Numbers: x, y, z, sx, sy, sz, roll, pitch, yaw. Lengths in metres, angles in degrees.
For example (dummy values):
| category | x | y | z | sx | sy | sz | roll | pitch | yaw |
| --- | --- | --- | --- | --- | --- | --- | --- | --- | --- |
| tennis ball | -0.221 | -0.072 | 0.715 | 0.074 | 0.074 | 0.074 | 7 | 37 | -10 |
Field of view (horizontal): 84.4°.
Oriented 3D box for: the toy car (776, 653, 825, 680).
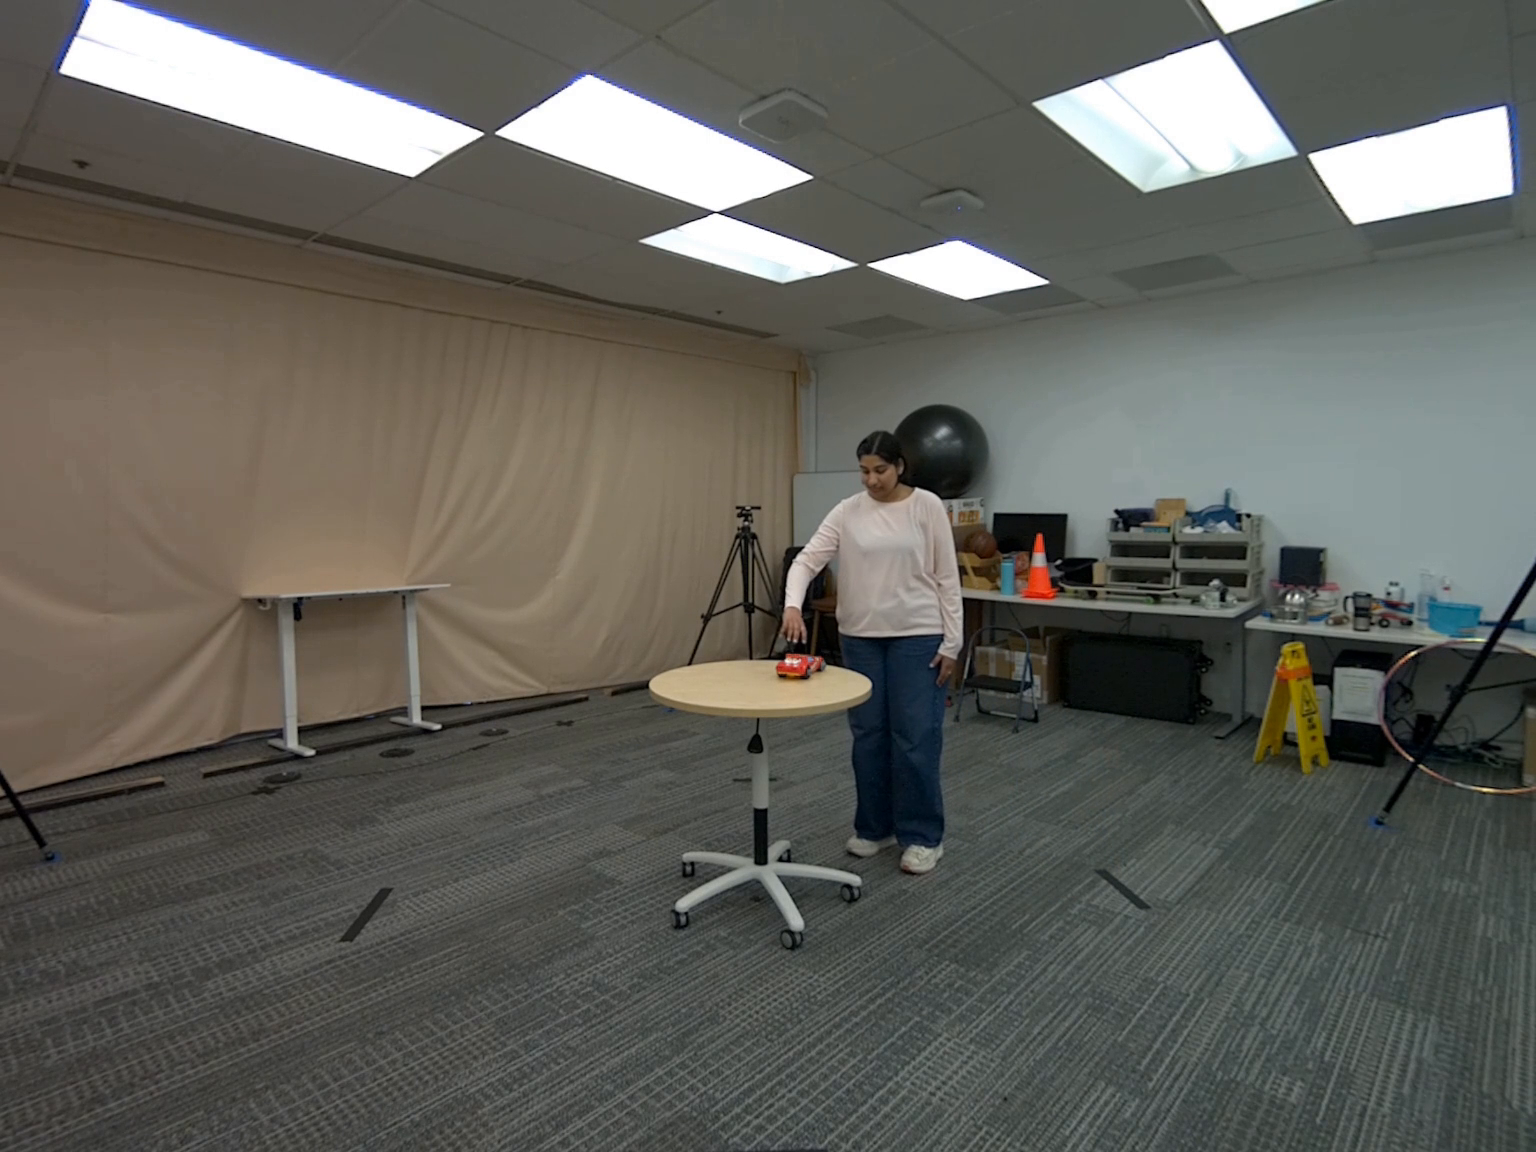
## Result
| category | x | y | z | sx | sy | sz | roll | pitch | yaw |
| --- | --- | --- | --- | --- | --- | --- | --- | --- | --- |
| toy car | 0.111 | 0.326 | 3.011 | 0.133 | 0.083 | 0.247 | 2 | -5 | 24 |
